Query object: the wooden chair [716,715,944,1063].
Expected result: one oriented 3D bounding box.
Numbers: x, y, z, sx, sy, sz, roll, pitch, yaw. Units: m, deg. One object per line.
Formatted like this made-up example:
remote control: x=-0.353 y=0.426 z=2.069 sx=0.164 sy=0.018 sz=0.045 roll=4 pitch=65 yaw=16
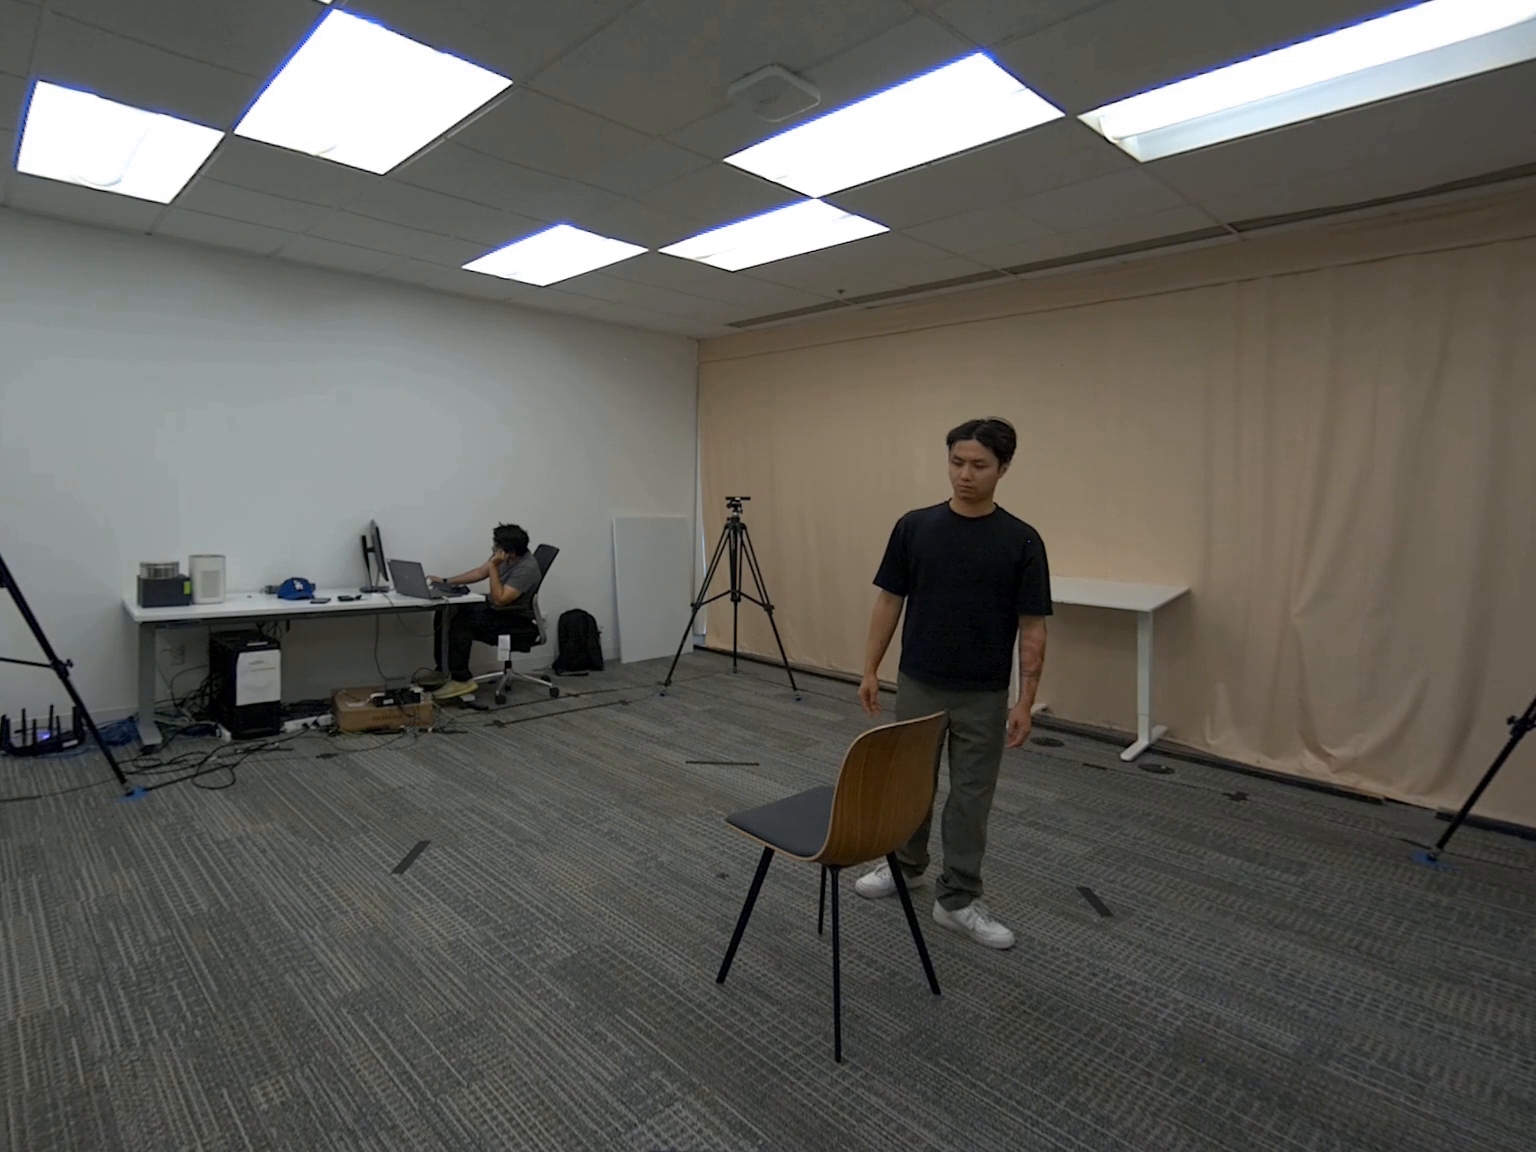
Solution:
wooden chair: x=0.172 y=0.754 z=2.372 sx=0.467 sy=0.873 sz=0.538 roll=-2 pitch=10 yaw=-44
